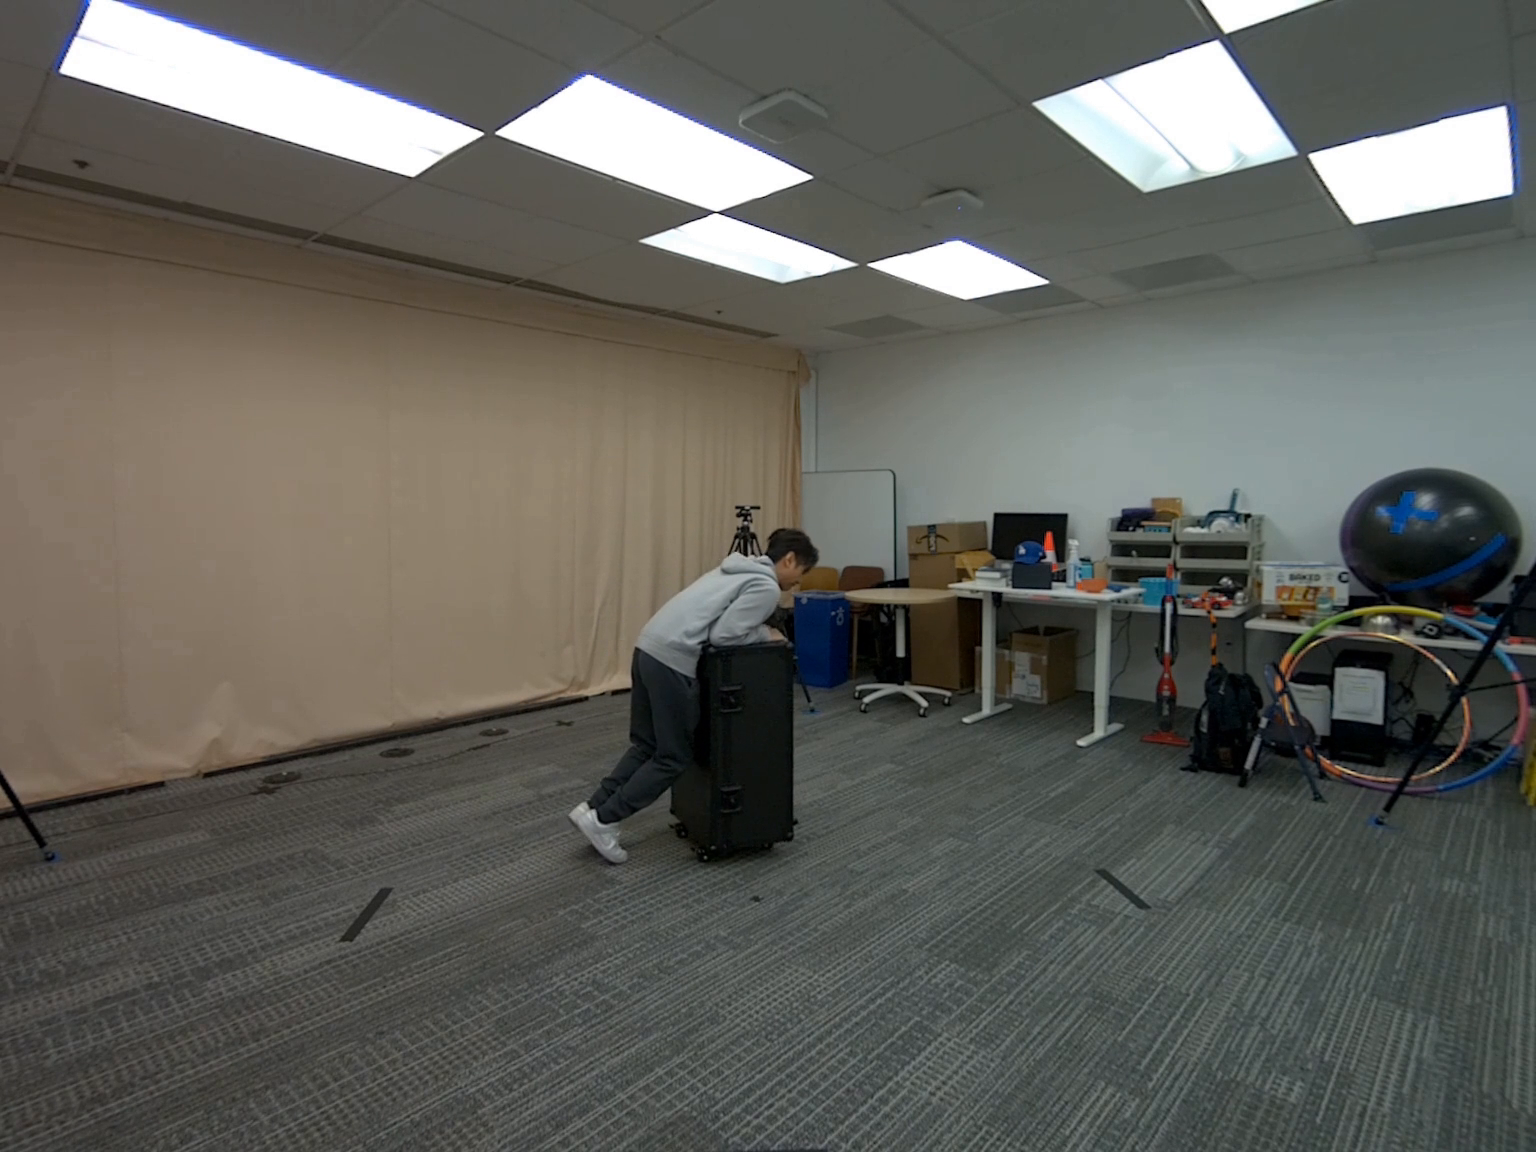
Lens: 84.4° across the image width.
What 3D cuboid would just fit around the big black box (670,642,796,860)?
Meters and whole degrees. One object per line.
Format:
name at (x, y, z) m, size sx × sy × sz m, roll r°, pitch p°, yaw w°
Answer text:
big black box at (-0.148, 0.682, 3.477) m, size 0.387 × 0.860 × 0.534 m, roll 0°, pitch 2°, yaw -23°
